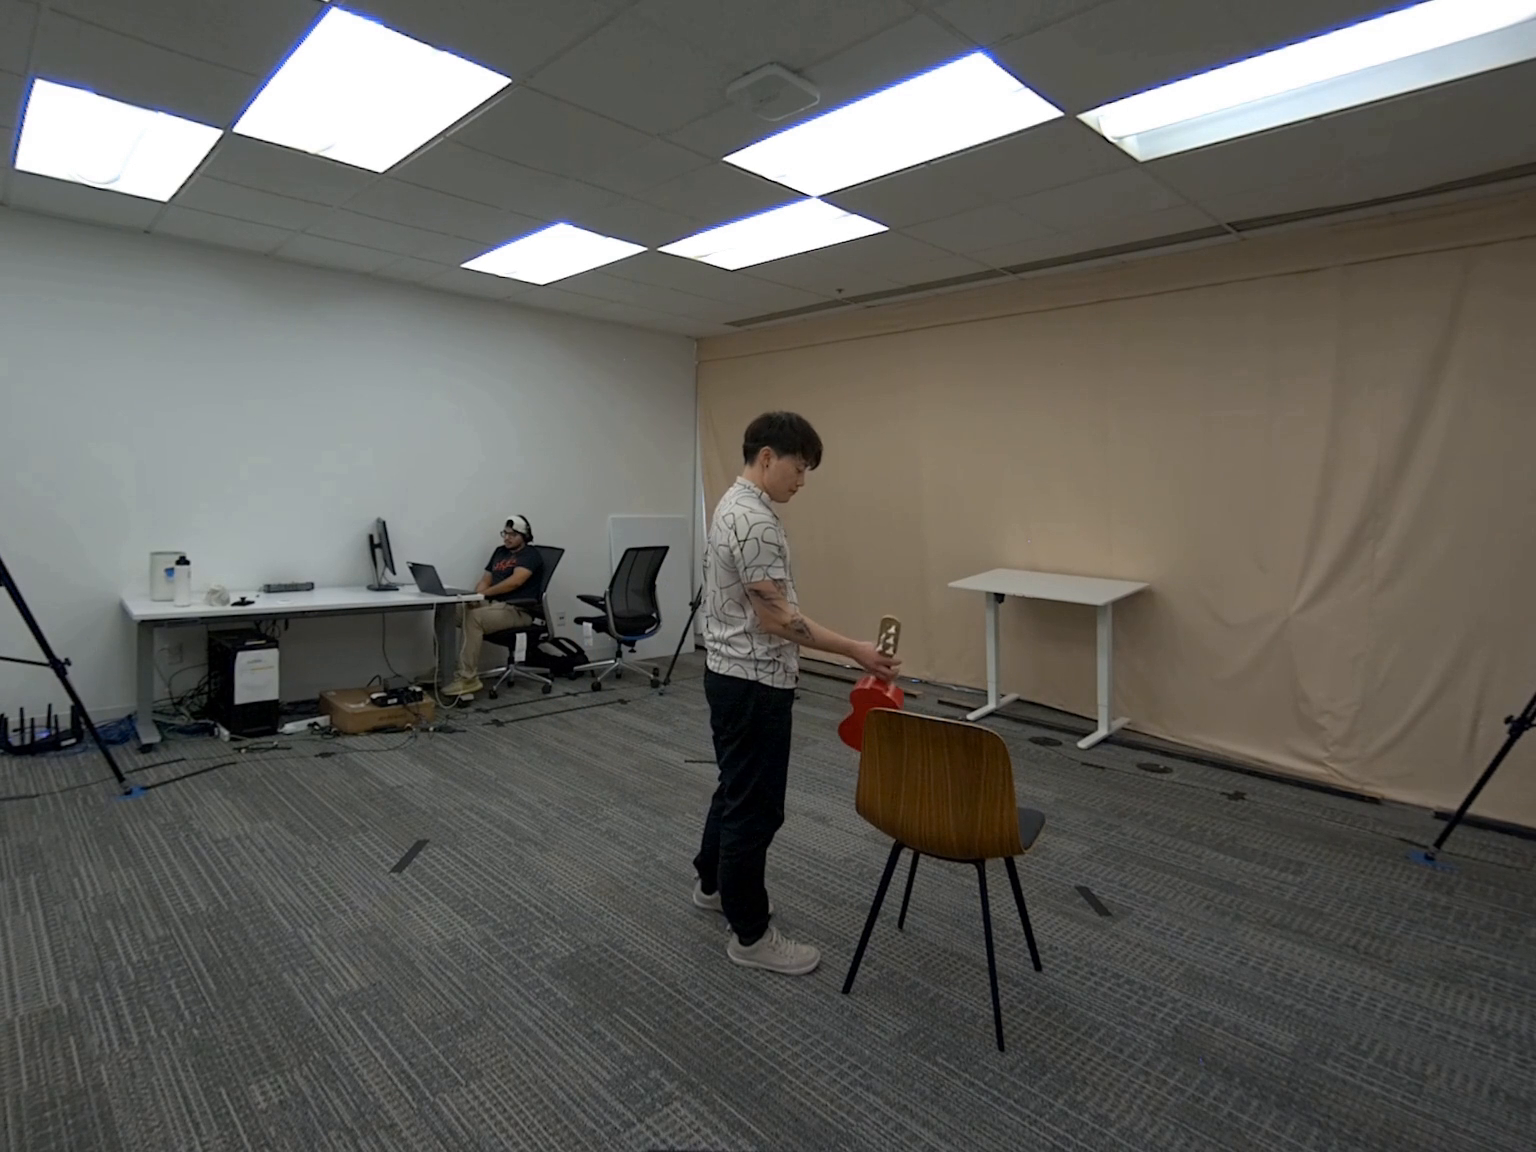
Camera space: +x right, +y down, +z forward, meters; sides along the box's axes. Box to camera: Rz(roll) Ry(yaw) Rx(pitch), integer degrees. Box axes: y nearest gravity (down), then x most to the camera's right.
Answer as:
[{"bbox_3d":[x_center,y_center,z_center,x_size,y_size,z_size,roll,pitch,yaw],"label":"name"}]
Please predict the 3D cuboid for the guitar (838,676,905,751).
[{"bbox_3d":[0.288,0.326,2.429,0.197,0.487,0.071,10,35,27],"label":"guitar"}]
